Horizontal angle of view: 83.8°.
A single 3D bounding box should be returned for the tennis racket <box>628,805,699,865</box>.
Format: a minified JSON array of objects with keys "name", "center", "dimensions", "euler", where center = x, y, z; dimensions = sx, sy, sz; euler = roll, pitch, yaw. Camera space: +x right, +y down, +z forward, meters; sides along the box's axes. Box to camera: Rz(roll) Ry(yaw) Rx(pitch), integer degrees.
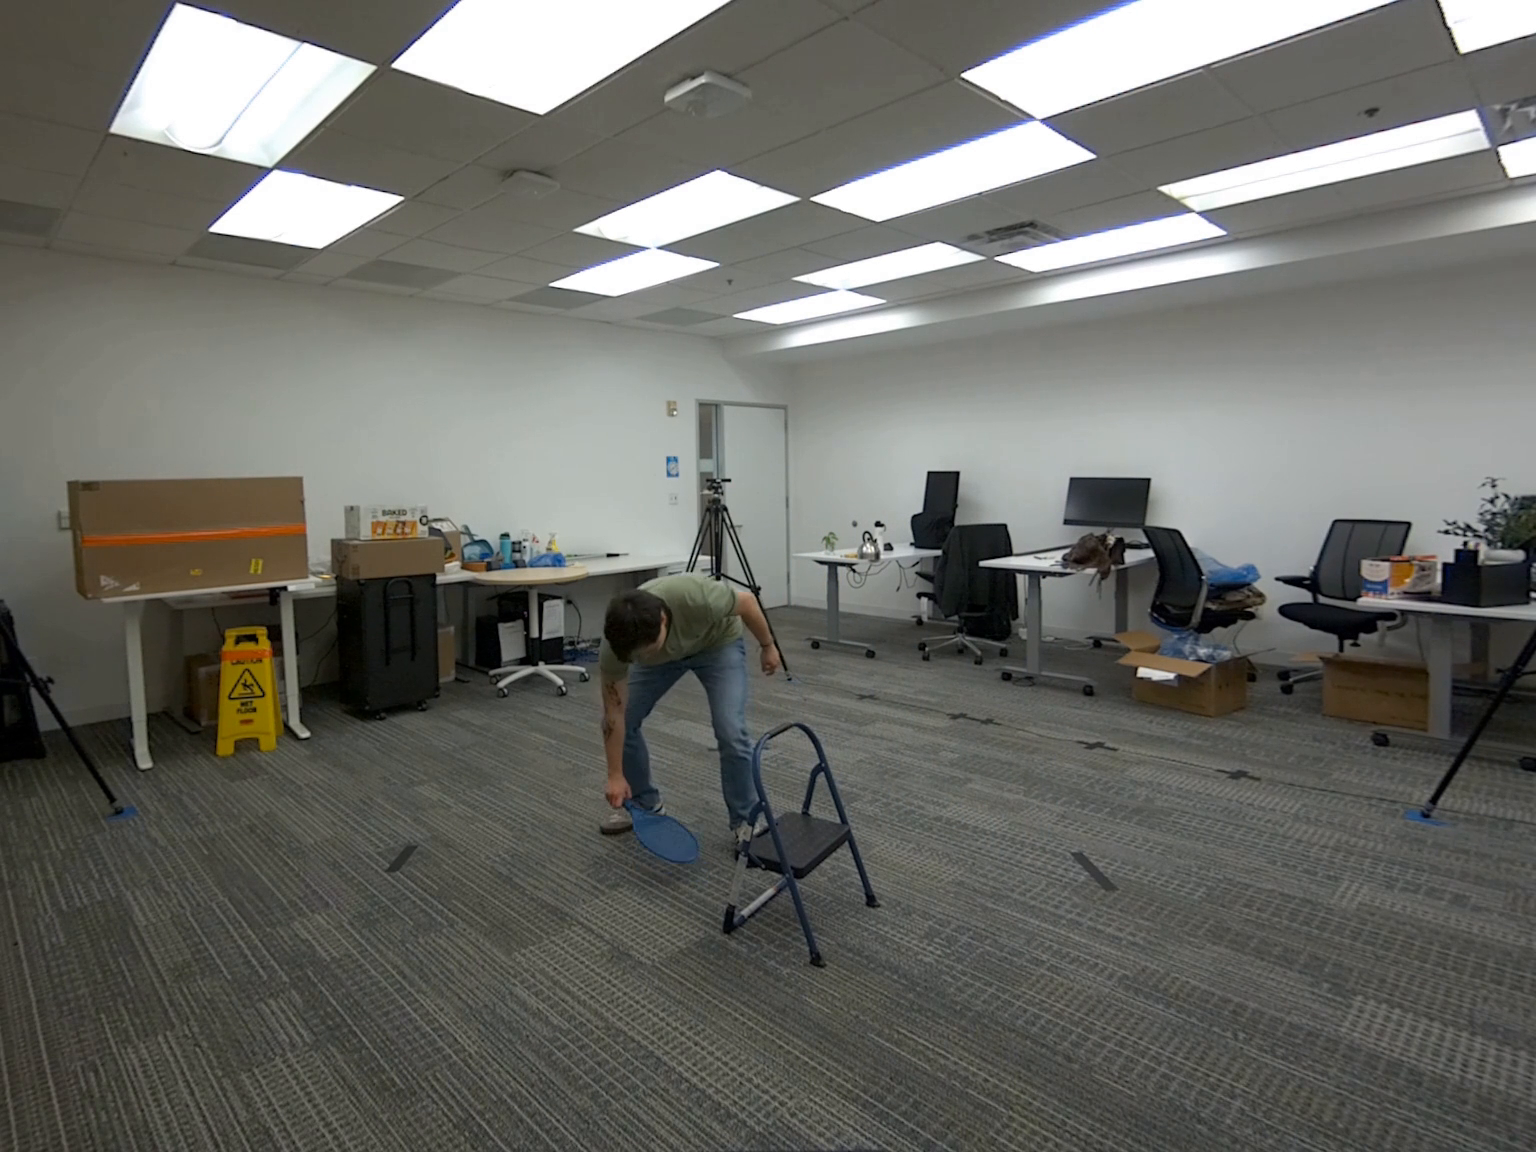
[{"name":"tennis racket","center":[-0.416,0.891,3.076],"dimensions":[0.448,0.031,0.208],"euler":[29,17,31]}]
